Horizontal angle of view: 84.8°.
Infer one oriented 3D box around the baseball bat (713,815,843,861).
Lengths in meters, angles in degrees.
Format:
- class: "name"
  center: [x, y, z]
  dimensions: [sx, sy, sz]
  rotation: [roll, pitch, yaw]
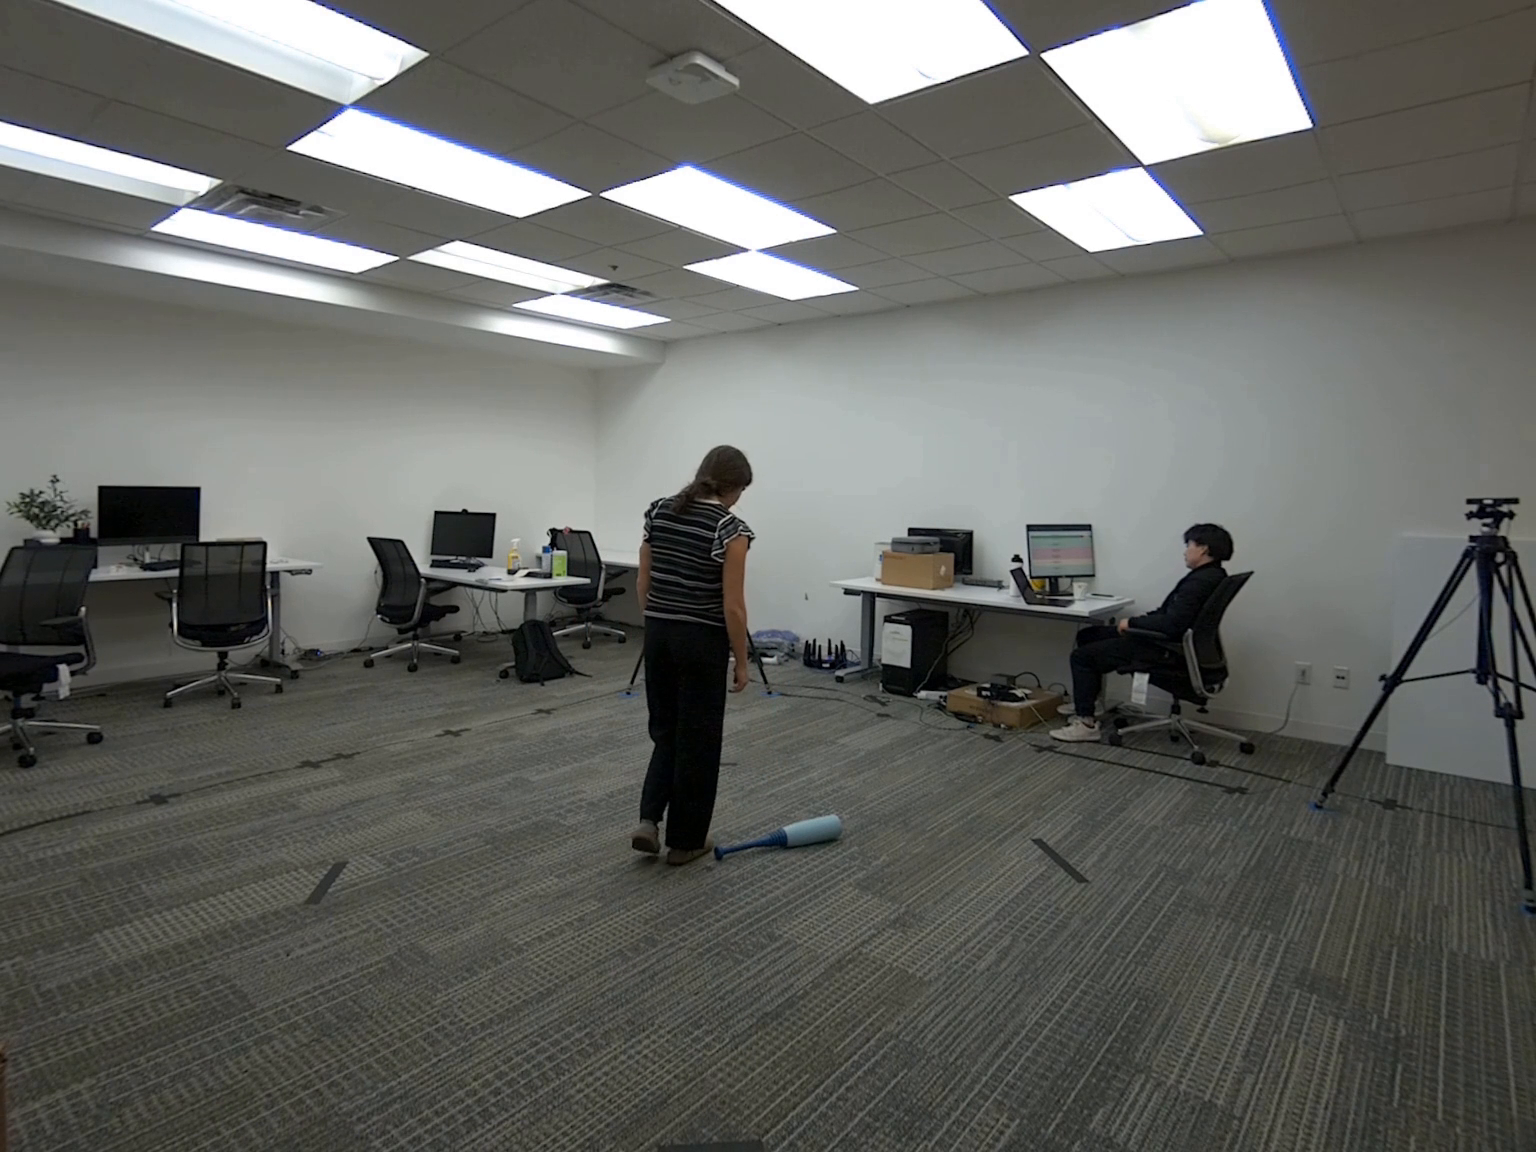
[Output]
- class: "baseball bat"
  center: [0.032, 1.024, 3.300]
  dimensions: [0.531, 0.088, 0.091]
  rotation: [-5, 6, -24]
